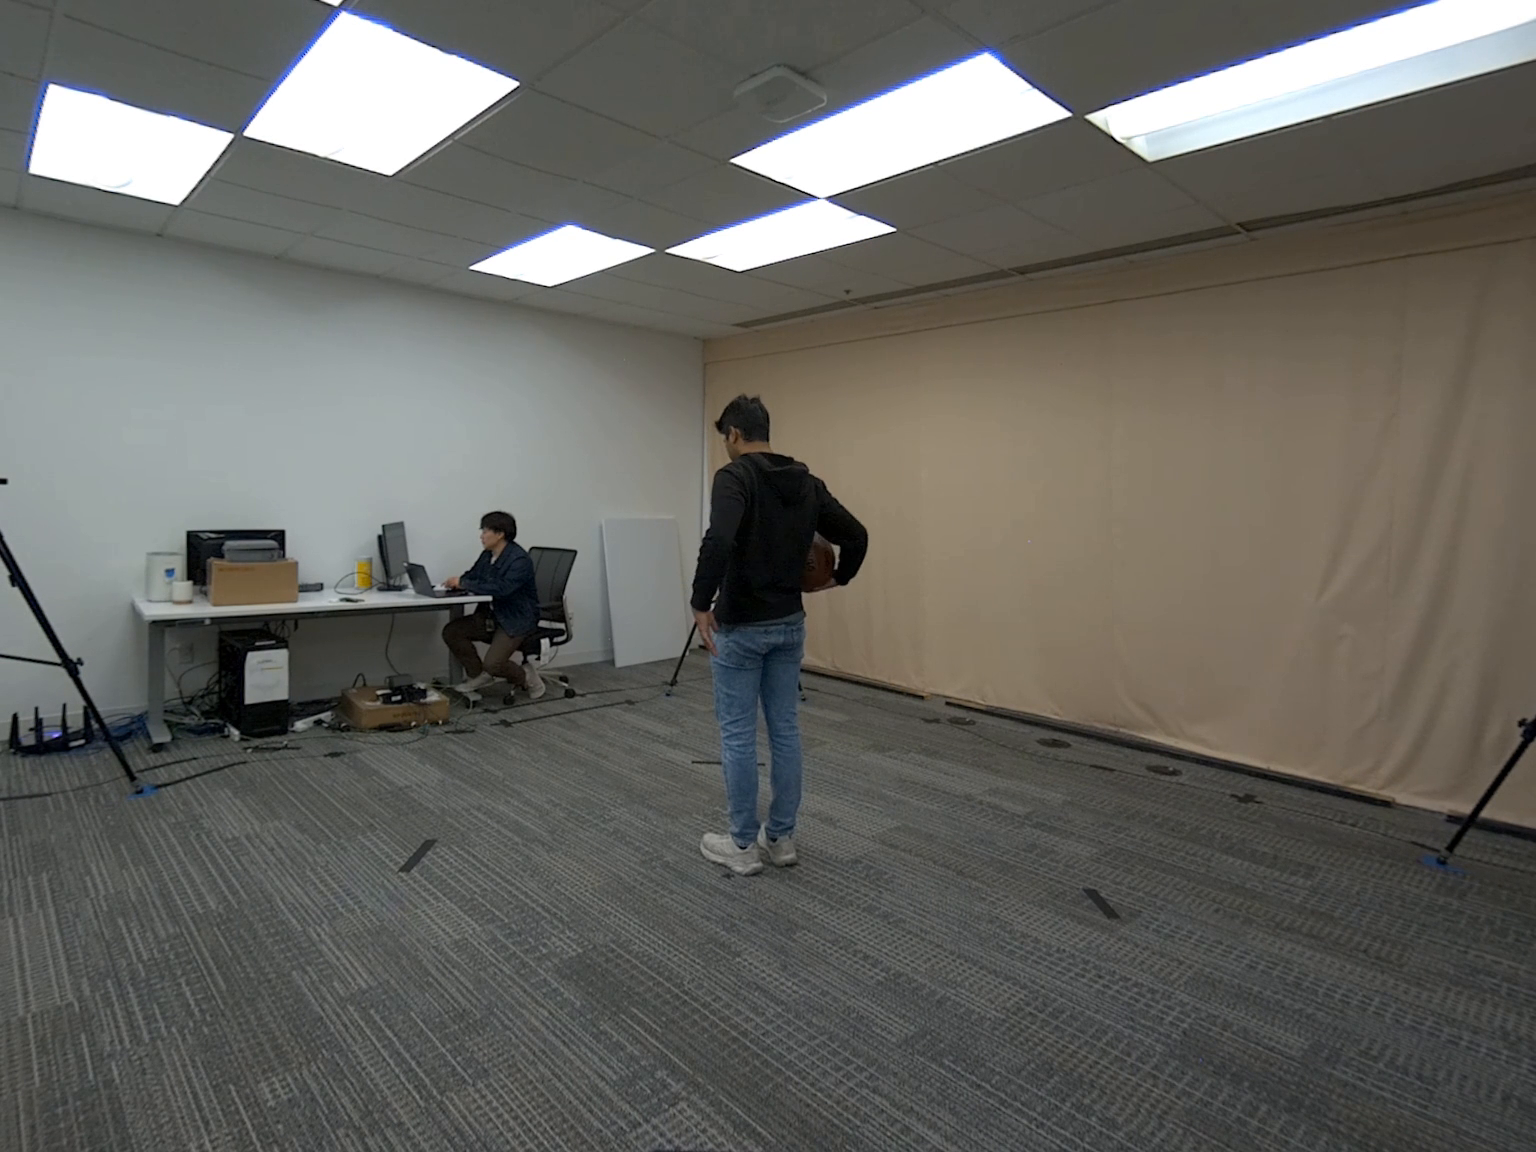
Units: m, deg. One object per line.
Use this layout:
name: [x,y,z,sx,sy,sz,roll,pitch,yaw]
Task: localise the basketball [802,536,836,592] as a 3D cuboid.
basketball: [0.138,-0.072,3.398,0.236,0.235,0.237,1,4,-1]
